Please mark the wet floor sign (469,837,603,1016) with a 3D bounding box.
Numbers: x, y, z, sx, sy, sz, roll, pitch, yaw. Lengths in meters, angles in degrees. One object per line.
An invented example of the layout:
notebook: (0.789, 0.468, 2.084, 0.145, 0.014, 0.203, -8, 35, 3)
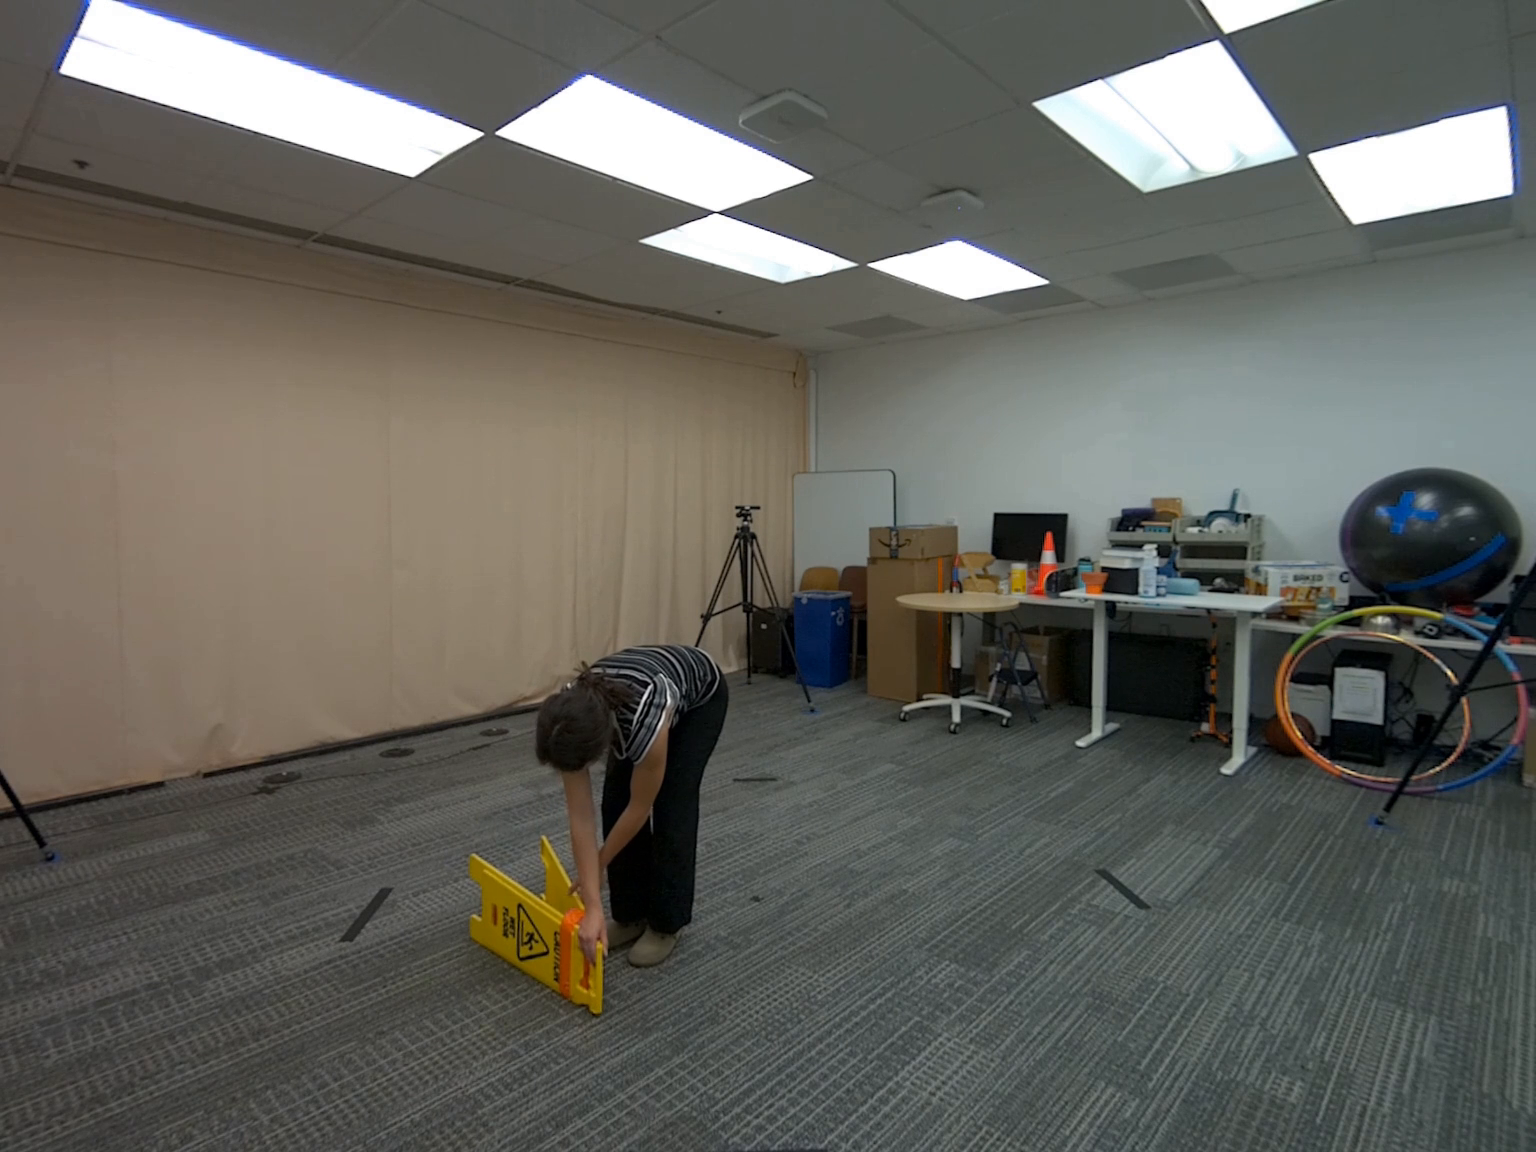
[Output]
wet floor sign: (-0.664, 1.064, 2.535, 0.281, 0.281, 0.668, -5, 8, -38)
